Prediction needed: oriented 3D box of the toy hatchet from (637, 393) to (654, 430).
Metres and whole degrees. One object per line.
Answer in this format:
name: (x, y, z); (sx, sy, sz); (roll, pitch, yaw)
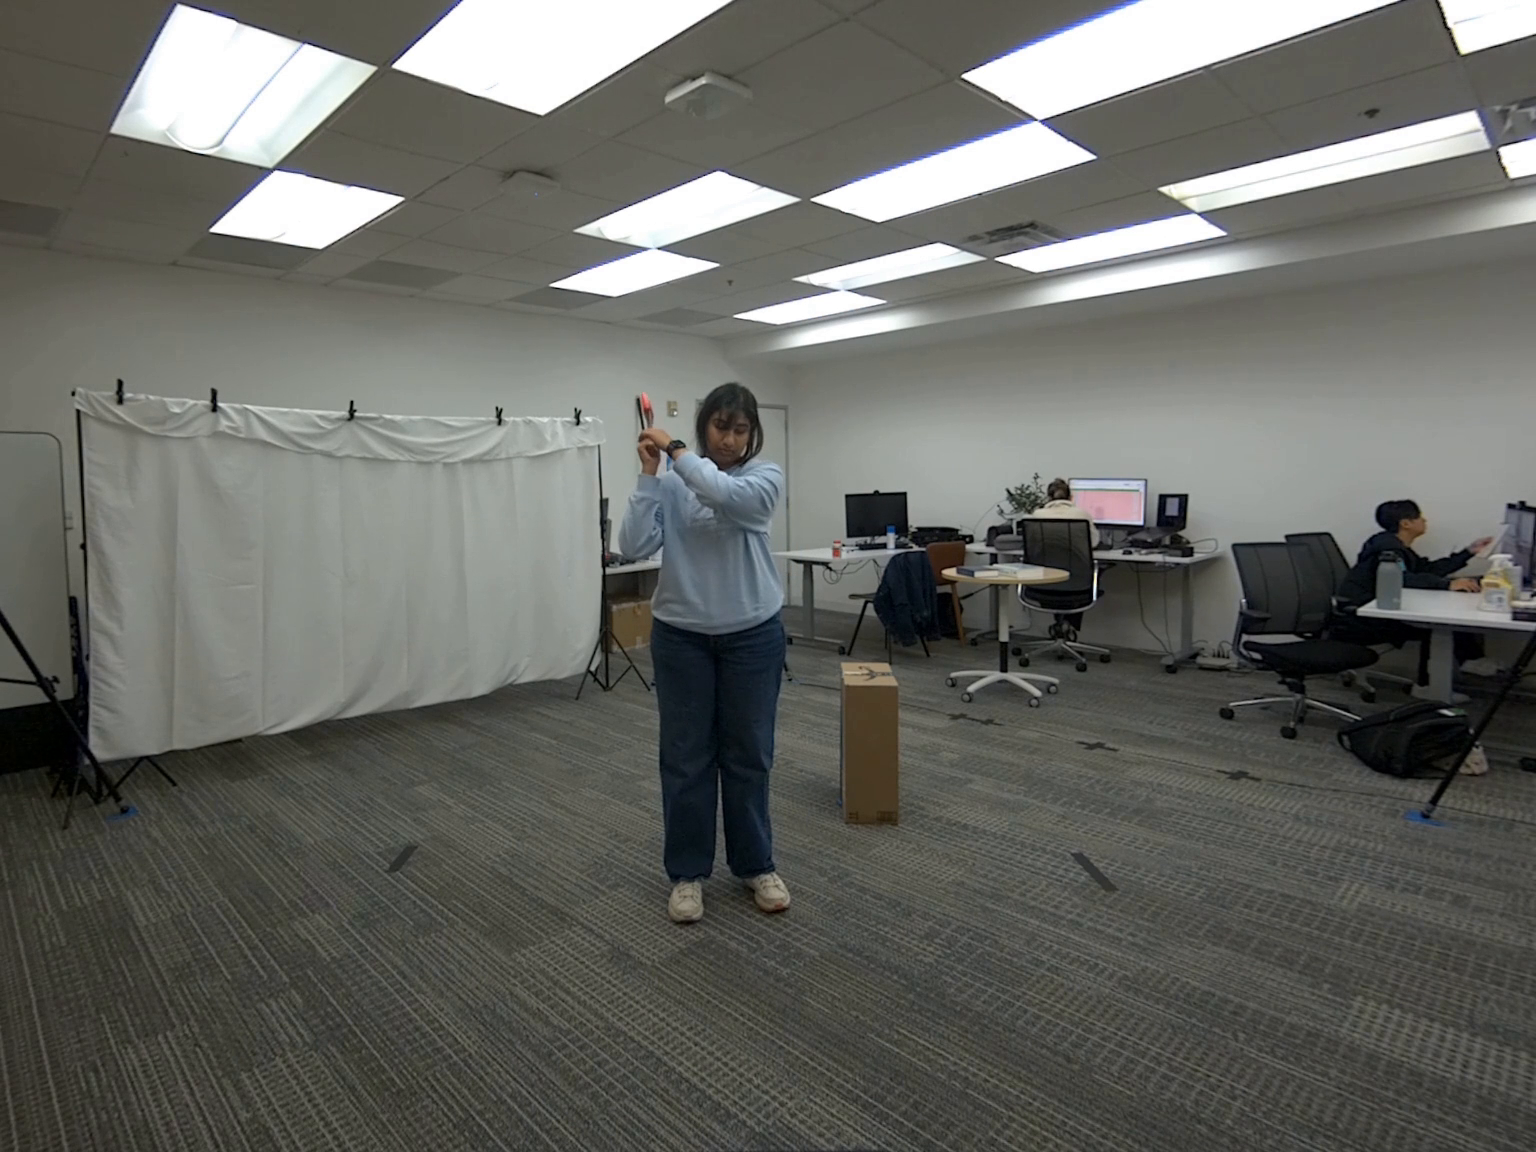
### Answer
toy hatchet: (-0.370, -0.501, 2.686); (0.029, 0.127, 0.279); (-12, 33, -6)
